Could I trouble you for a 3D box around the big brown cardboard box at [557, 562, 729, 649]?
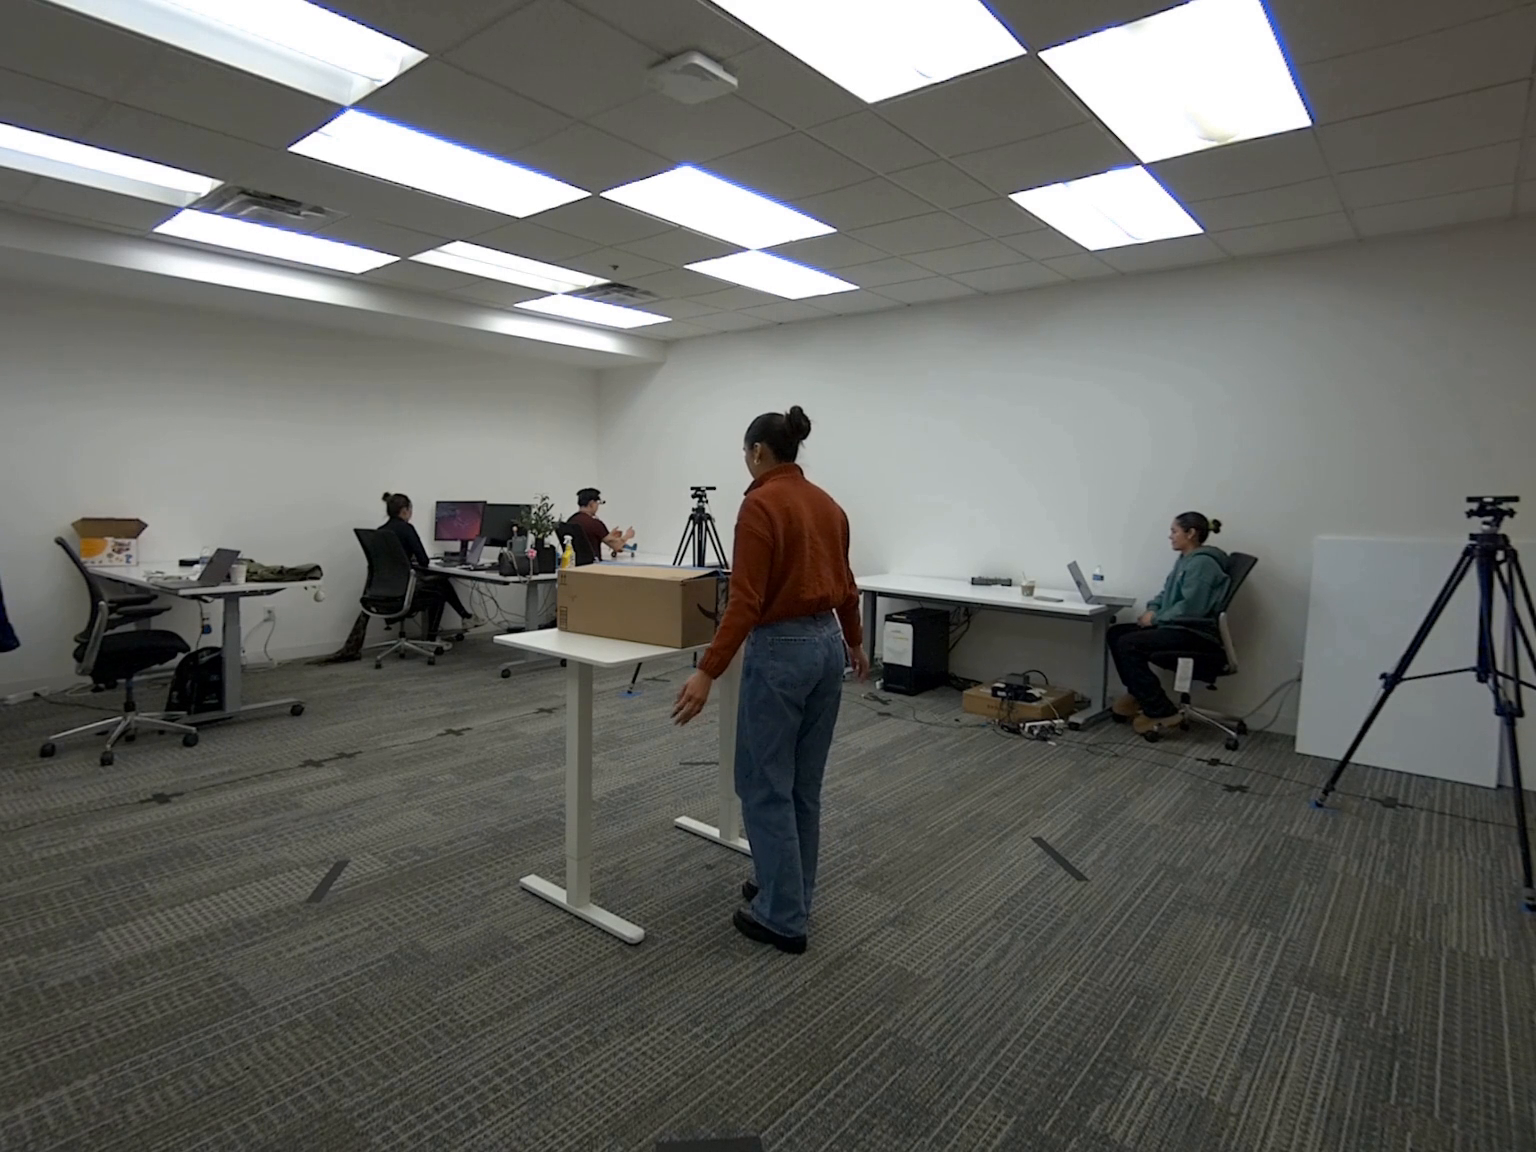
[{"bbox_3d":[-0.397,0.084,2.973,0.607,0.232,0.406,3,6,35],"label":"big brown cardboard box"}]
